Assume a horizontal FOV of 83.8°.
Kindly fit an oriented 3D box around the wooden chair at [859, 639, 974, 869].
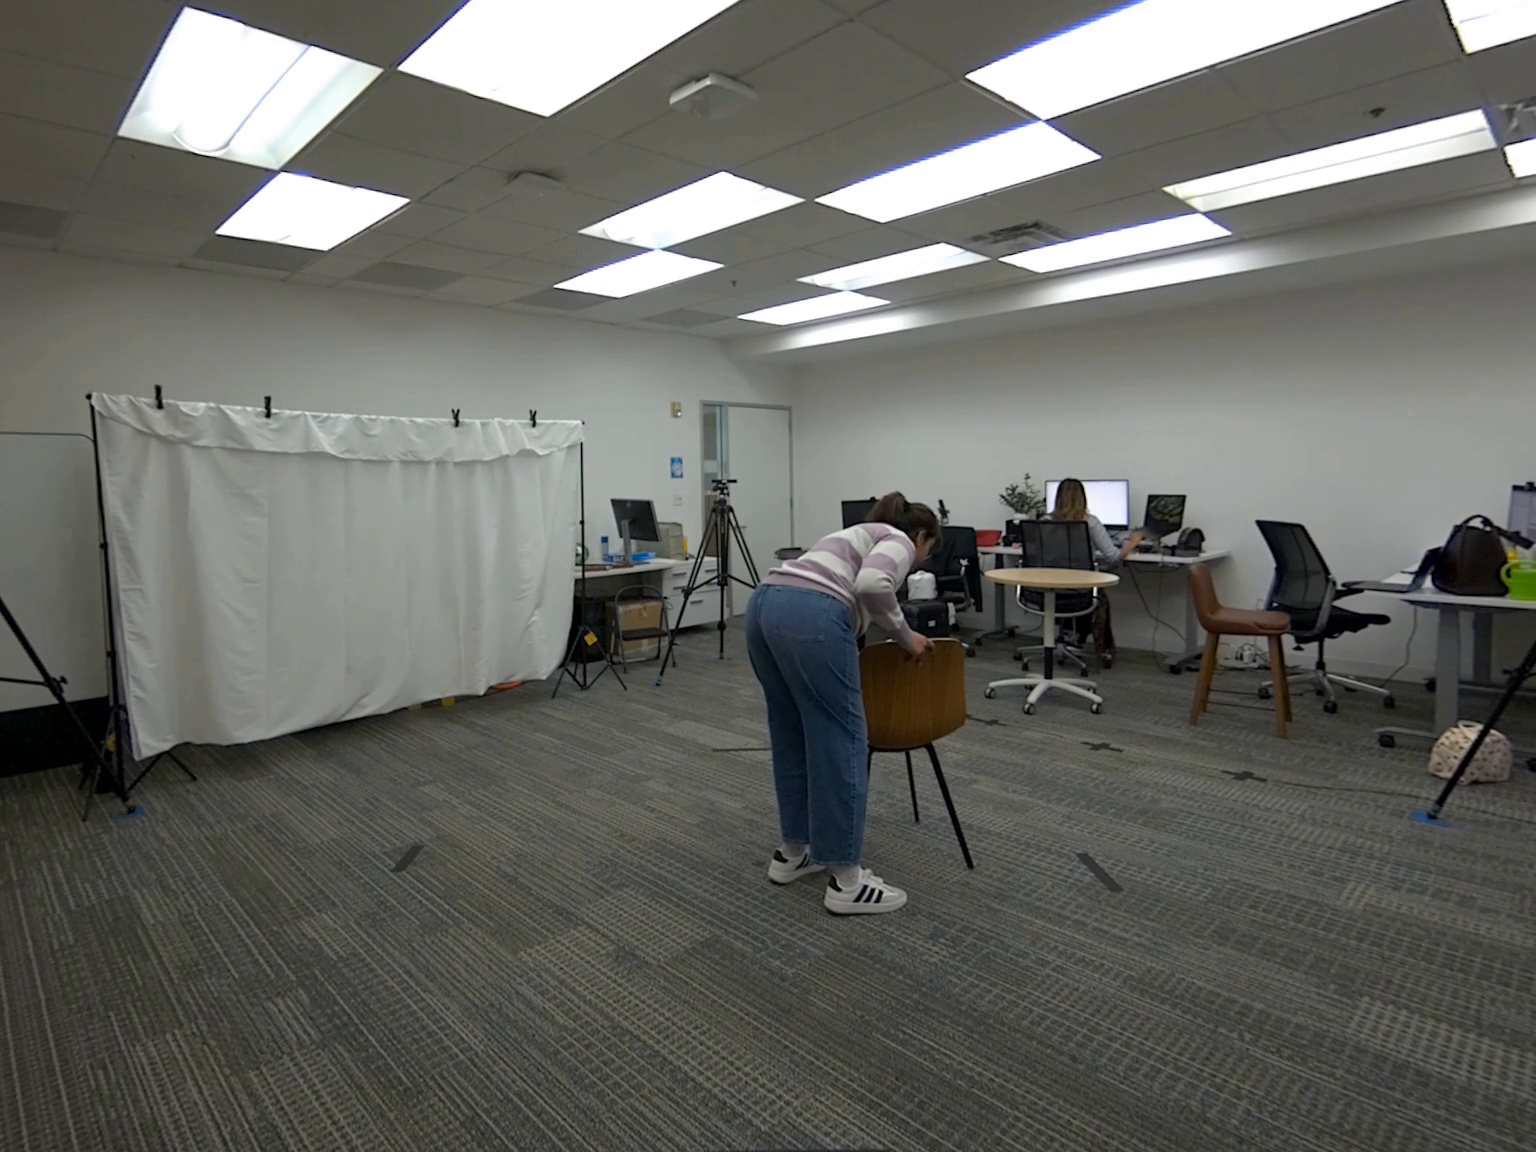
[{"bbox_3d":[0.445,0.605,3.192,0.472,0.871,0.533,-3,8,-14],"label":"wooden chair"}]
